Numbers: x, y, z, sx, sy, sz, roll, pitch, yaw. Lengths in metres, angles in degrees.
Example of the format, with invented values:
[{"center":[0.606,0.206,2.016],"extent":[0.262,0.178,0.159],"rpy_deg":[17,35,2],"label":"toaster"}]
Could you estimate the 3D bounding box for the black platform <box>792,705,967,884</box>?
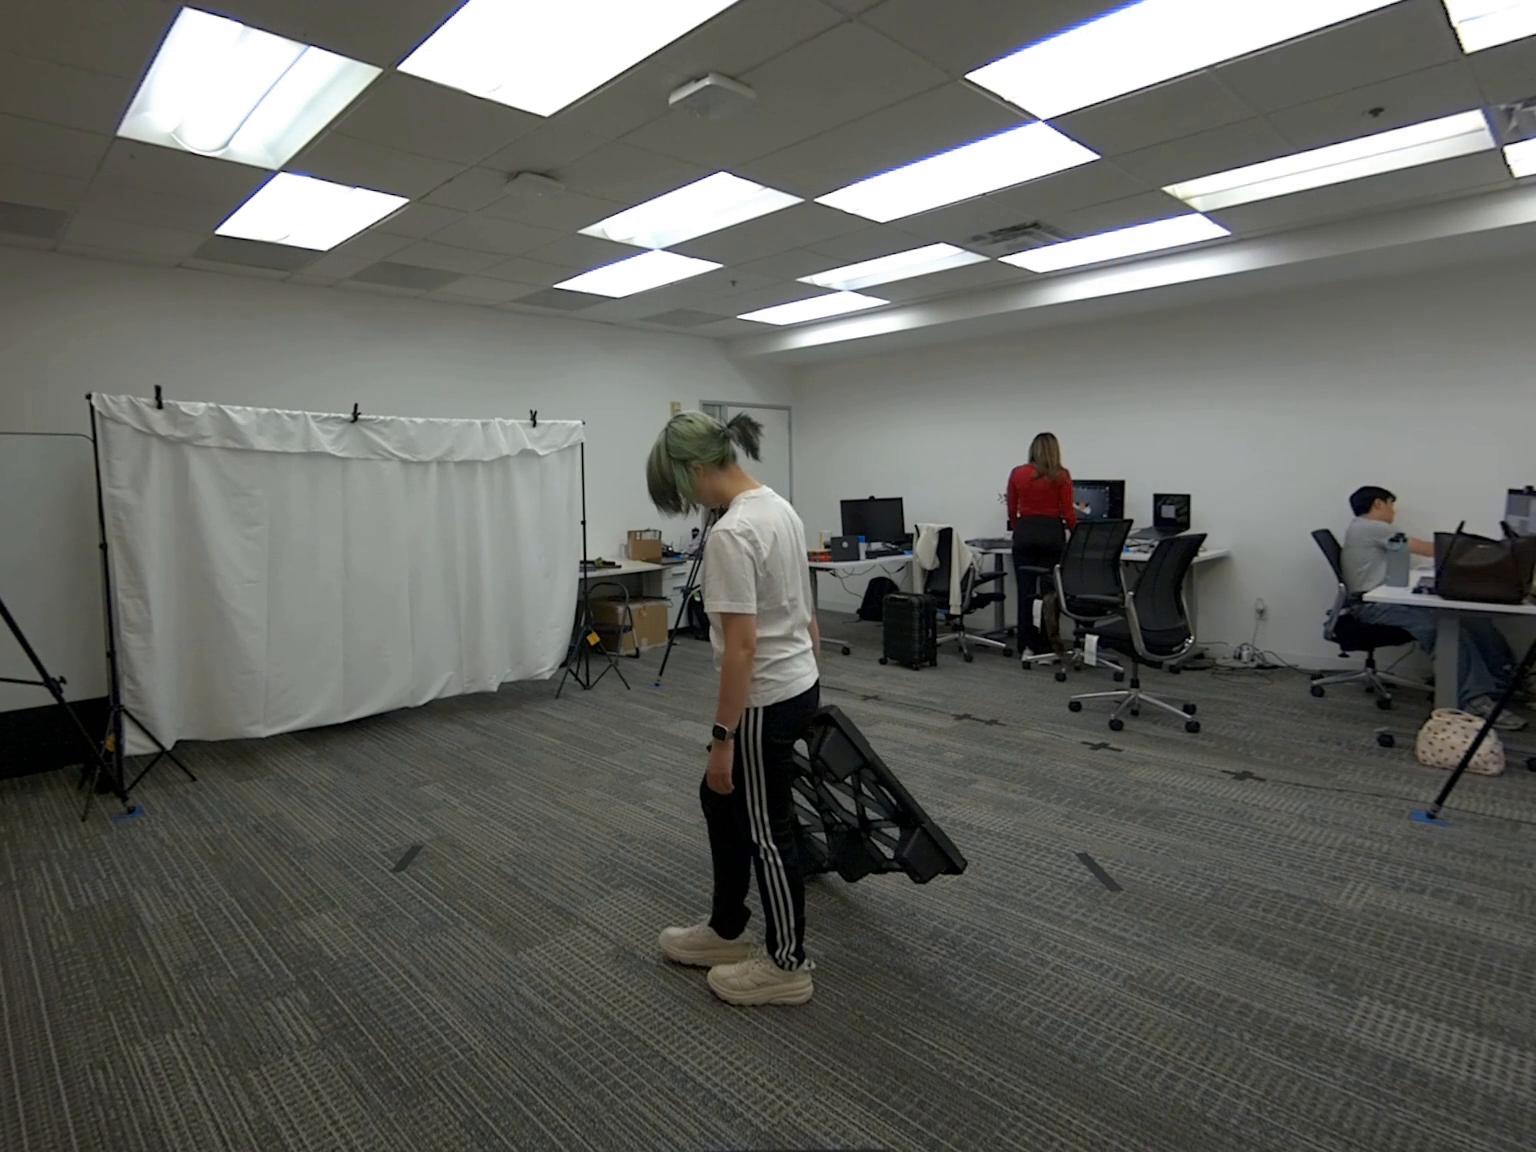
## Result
[{"center":[0.153,0.737,2.683],"extent":[0.142,0.603,0.812],"rpy_deg":[-40,4,-34],"label":"black platform"}]
